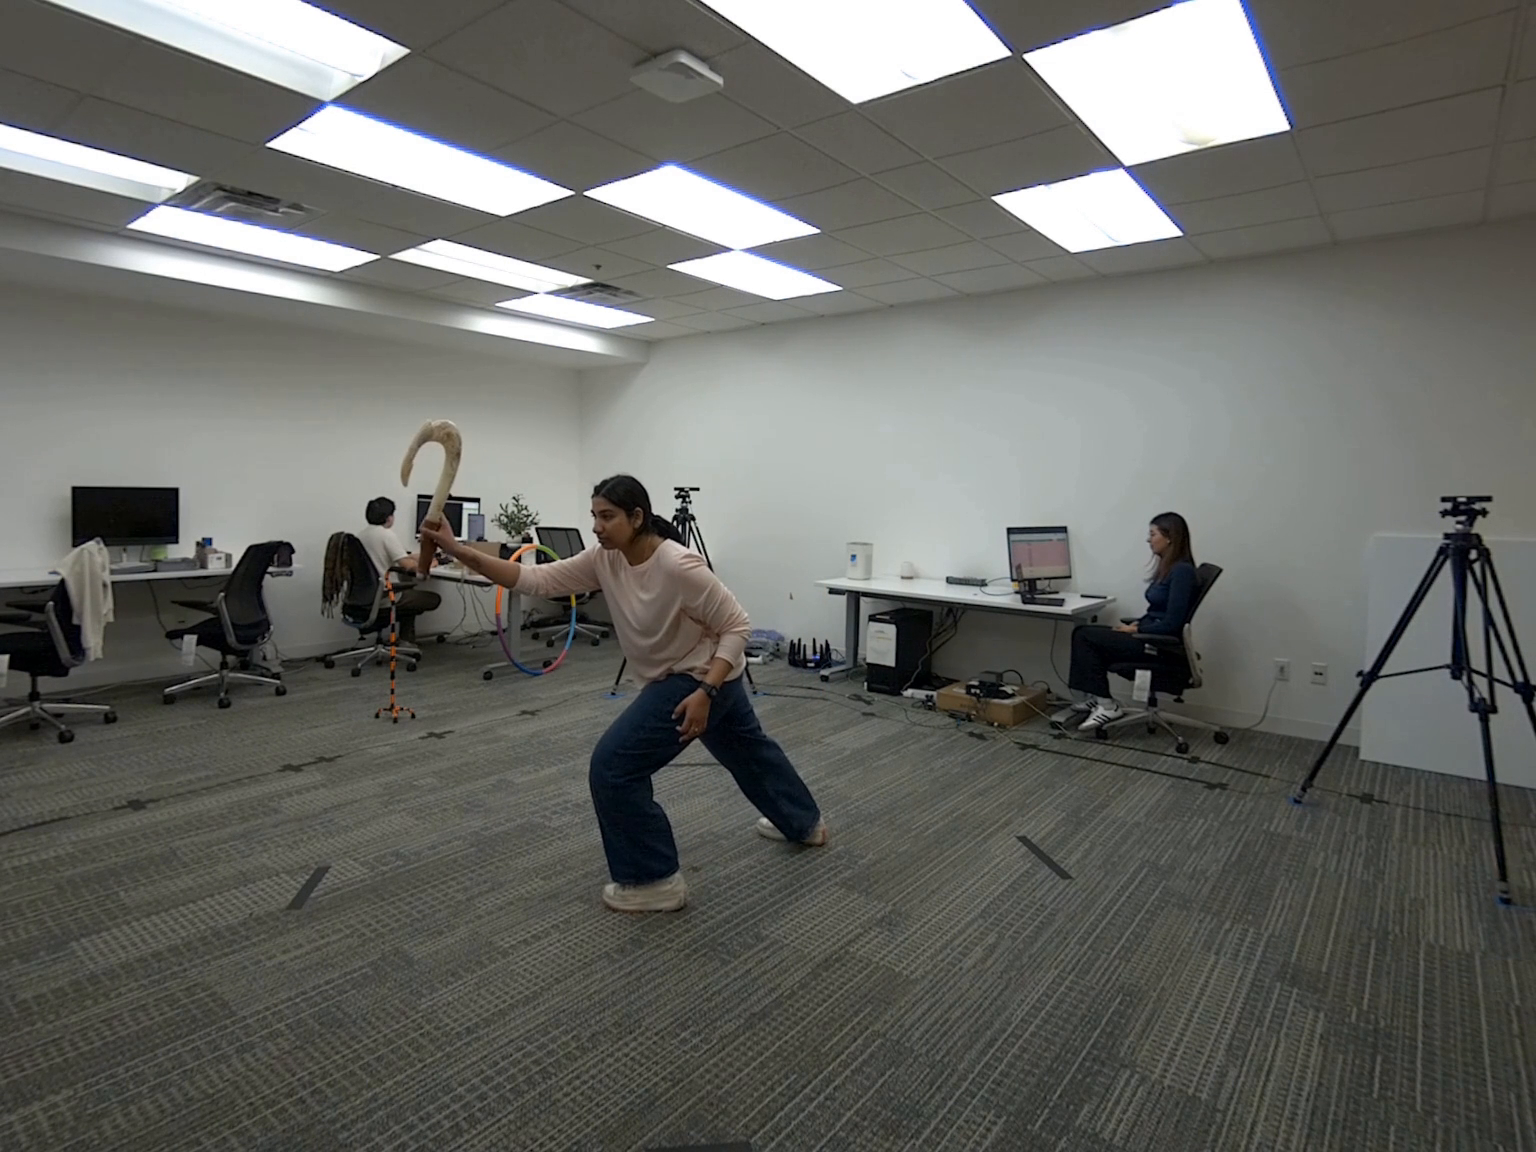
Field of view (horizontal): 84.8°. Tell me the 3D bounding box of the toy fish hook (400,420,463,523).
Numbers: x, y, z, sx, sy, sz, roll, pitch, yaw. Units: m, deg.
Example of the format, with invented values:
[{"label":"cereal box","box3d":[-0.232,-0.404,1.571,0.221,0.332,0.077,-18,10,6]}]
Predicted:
[{"label":"toy fish hook","box3d":[-1.026,-0.219,2.504,0.050,0.502,0.220,19,14,22]}]
